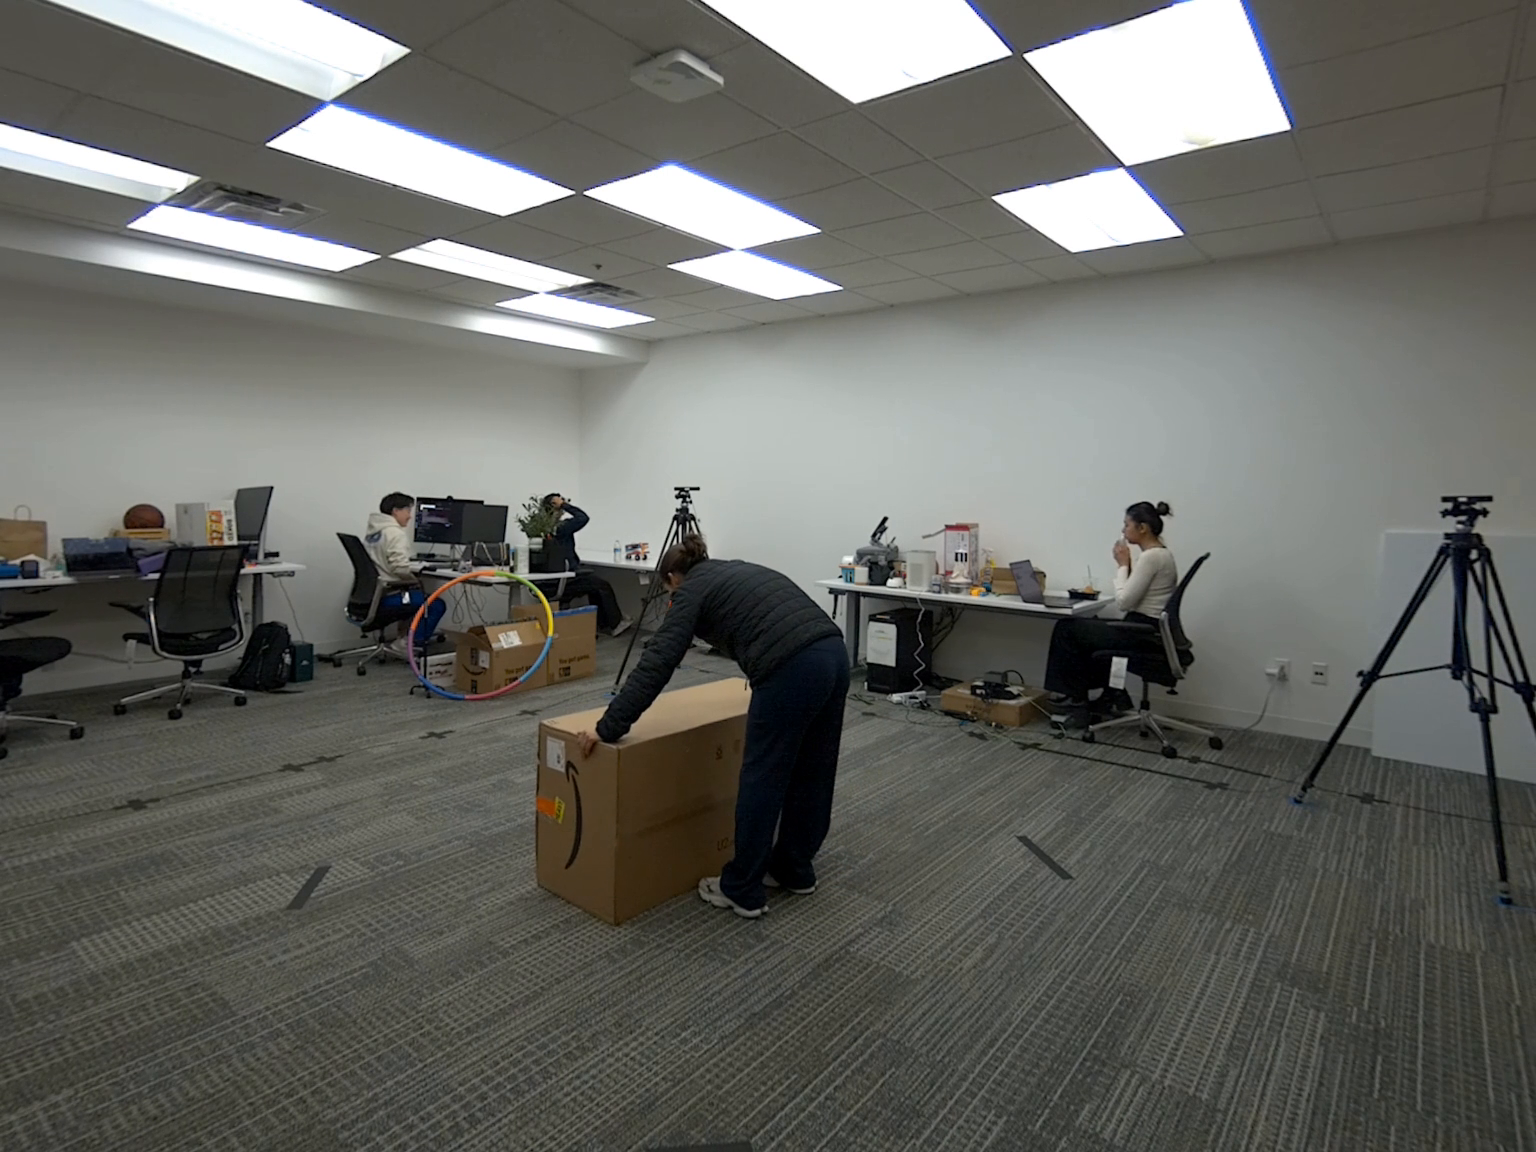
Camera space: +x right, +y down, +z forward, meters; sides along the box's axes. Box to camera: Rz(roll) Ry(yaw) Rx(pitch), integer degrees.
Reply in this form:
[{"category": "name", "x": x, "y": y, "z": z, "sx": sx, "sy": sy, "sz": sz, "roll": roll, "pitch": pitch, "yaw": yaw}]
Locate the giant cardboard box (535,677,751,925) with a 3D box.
[{"category": "giant cardboard box", "x": -0.311, "y": 0.771, "z": 3.191, "sx": 0.462, "sy": 0.581, "sz": 0.996, "roll": 6, "pitch": 7, "yaw": 42}]
